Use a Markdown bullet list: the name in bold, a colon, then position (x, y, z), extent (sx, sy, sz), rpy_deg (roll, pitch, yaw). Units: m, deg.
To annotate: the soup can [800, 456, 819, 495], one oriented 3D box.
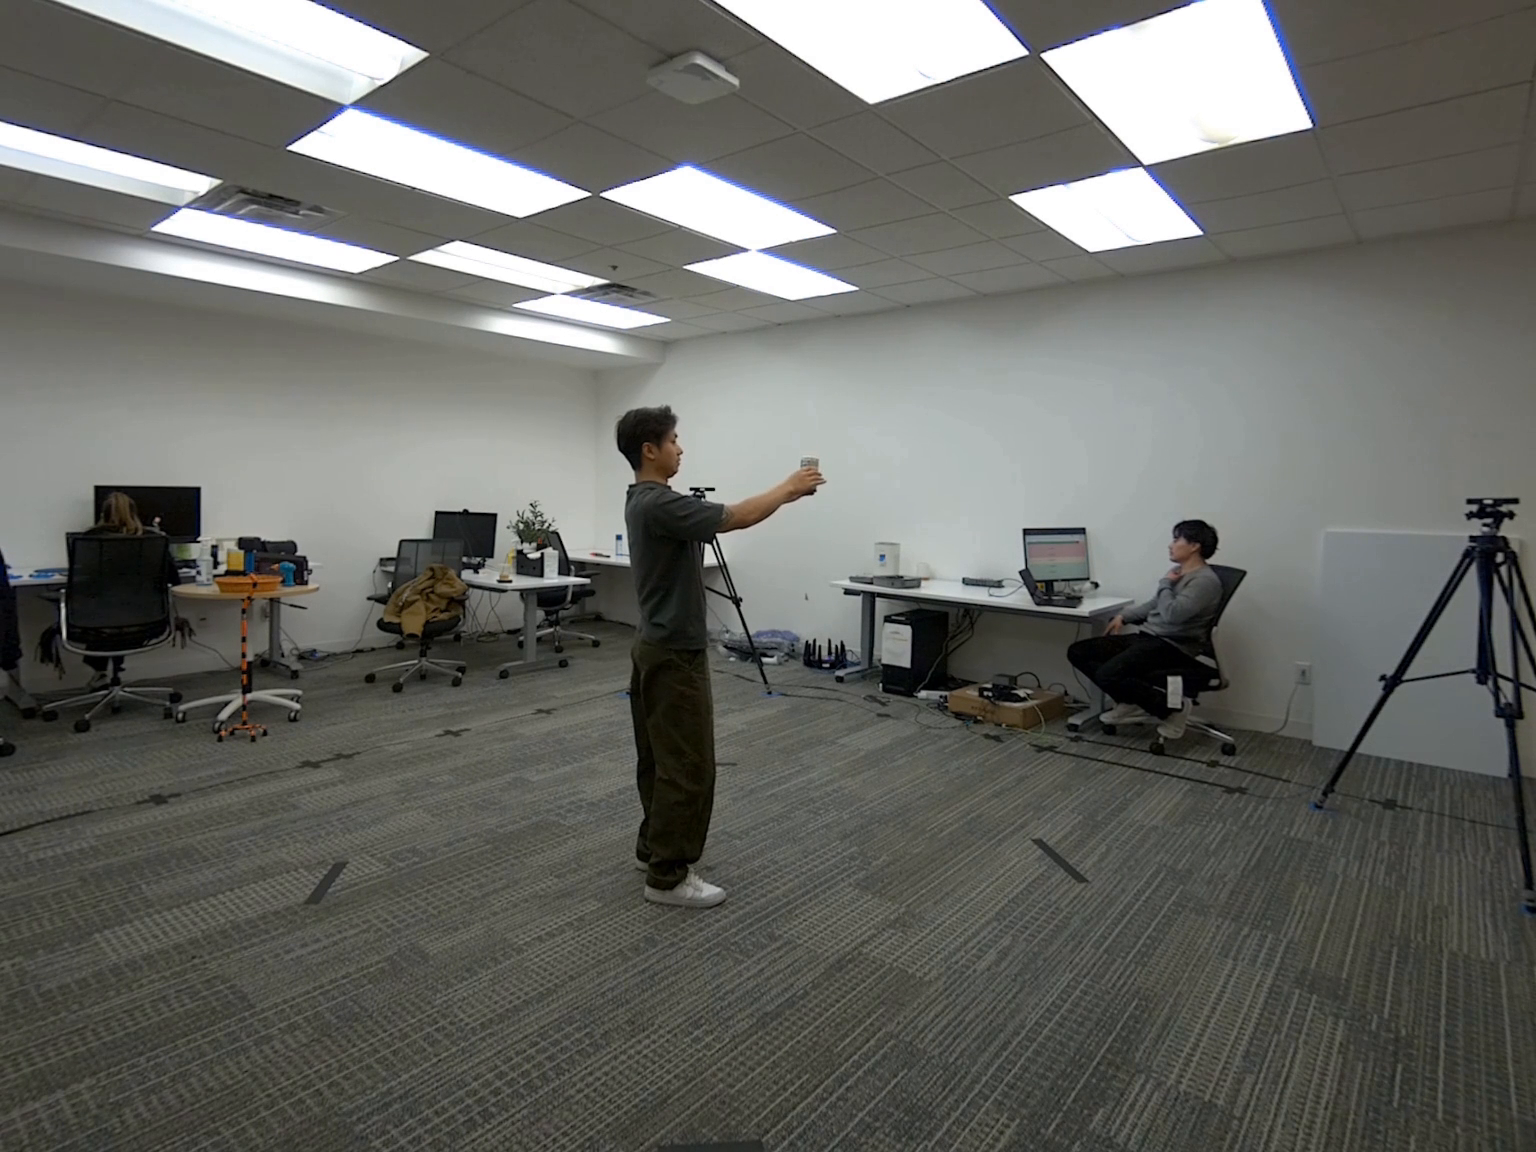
- **soup can**: position (0.142, -0.376, 3.094), extent (0.067, 0.122, 0.067), rpy_deg (5, -2, -2)
